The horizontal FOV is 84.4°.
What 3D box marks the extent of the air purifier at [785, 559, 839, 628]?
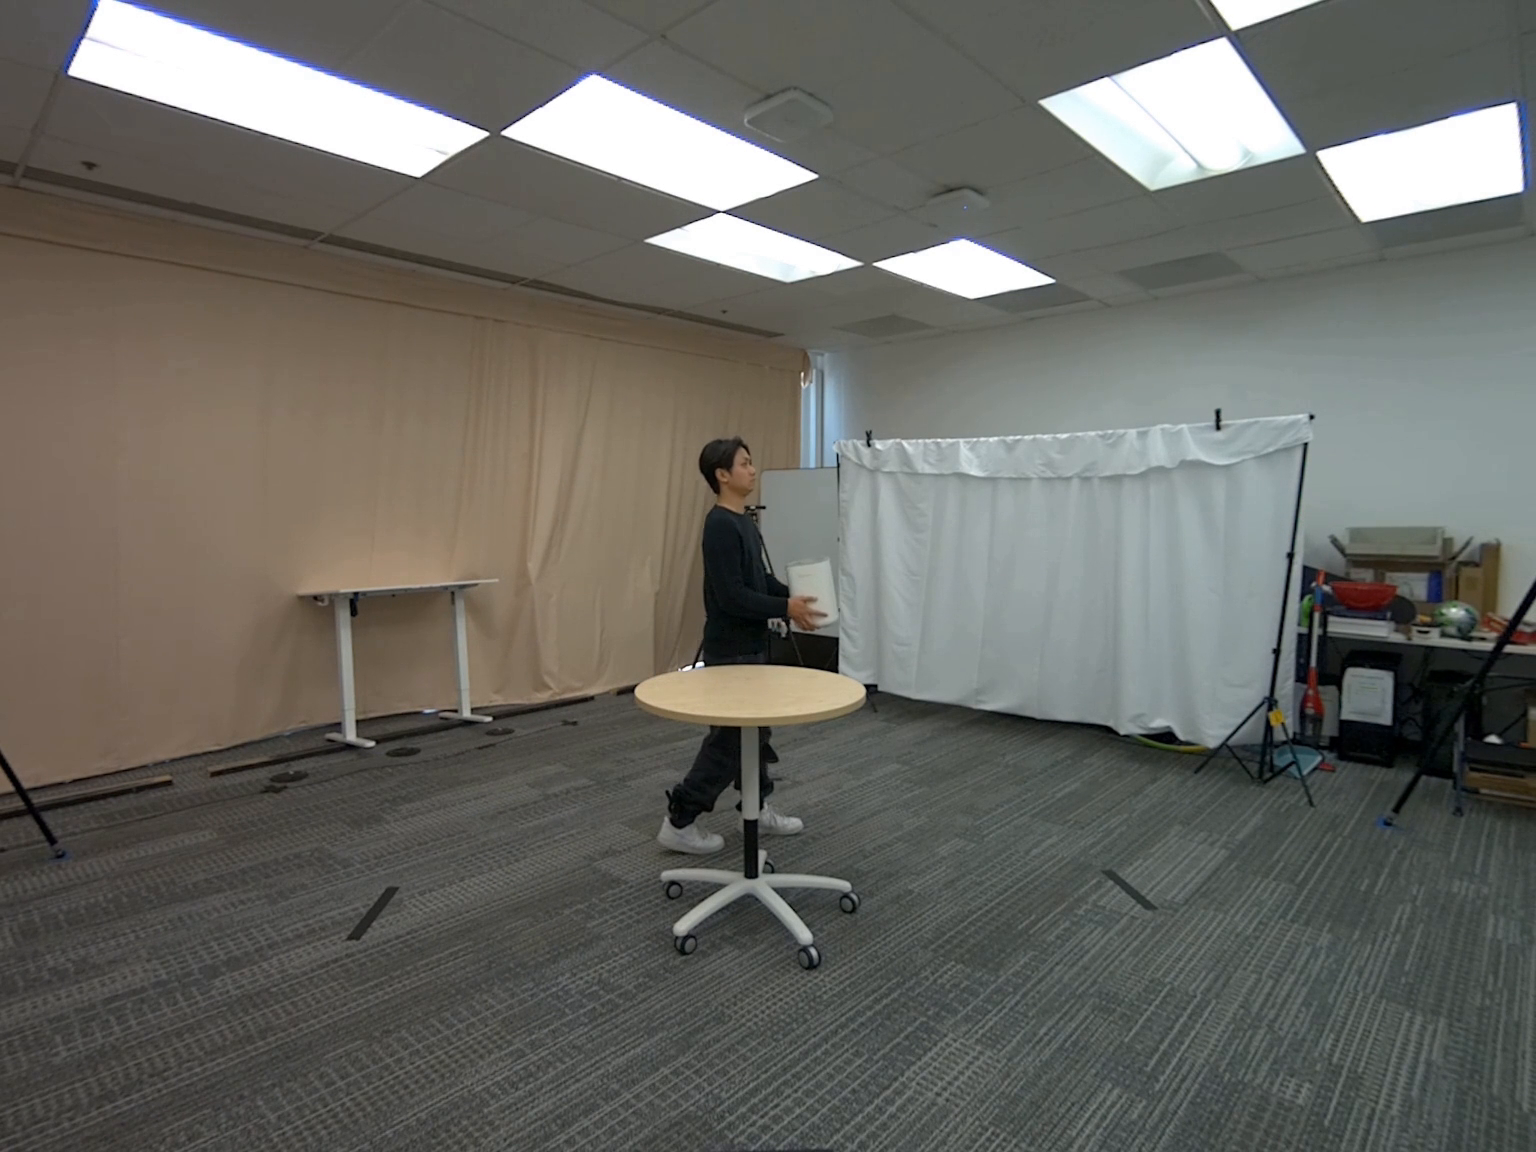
[{"bbox_3d":[0.173,0.072,3.382,0.173,0.264,0.170,-9,5,13],"label":"air purifier"}]
